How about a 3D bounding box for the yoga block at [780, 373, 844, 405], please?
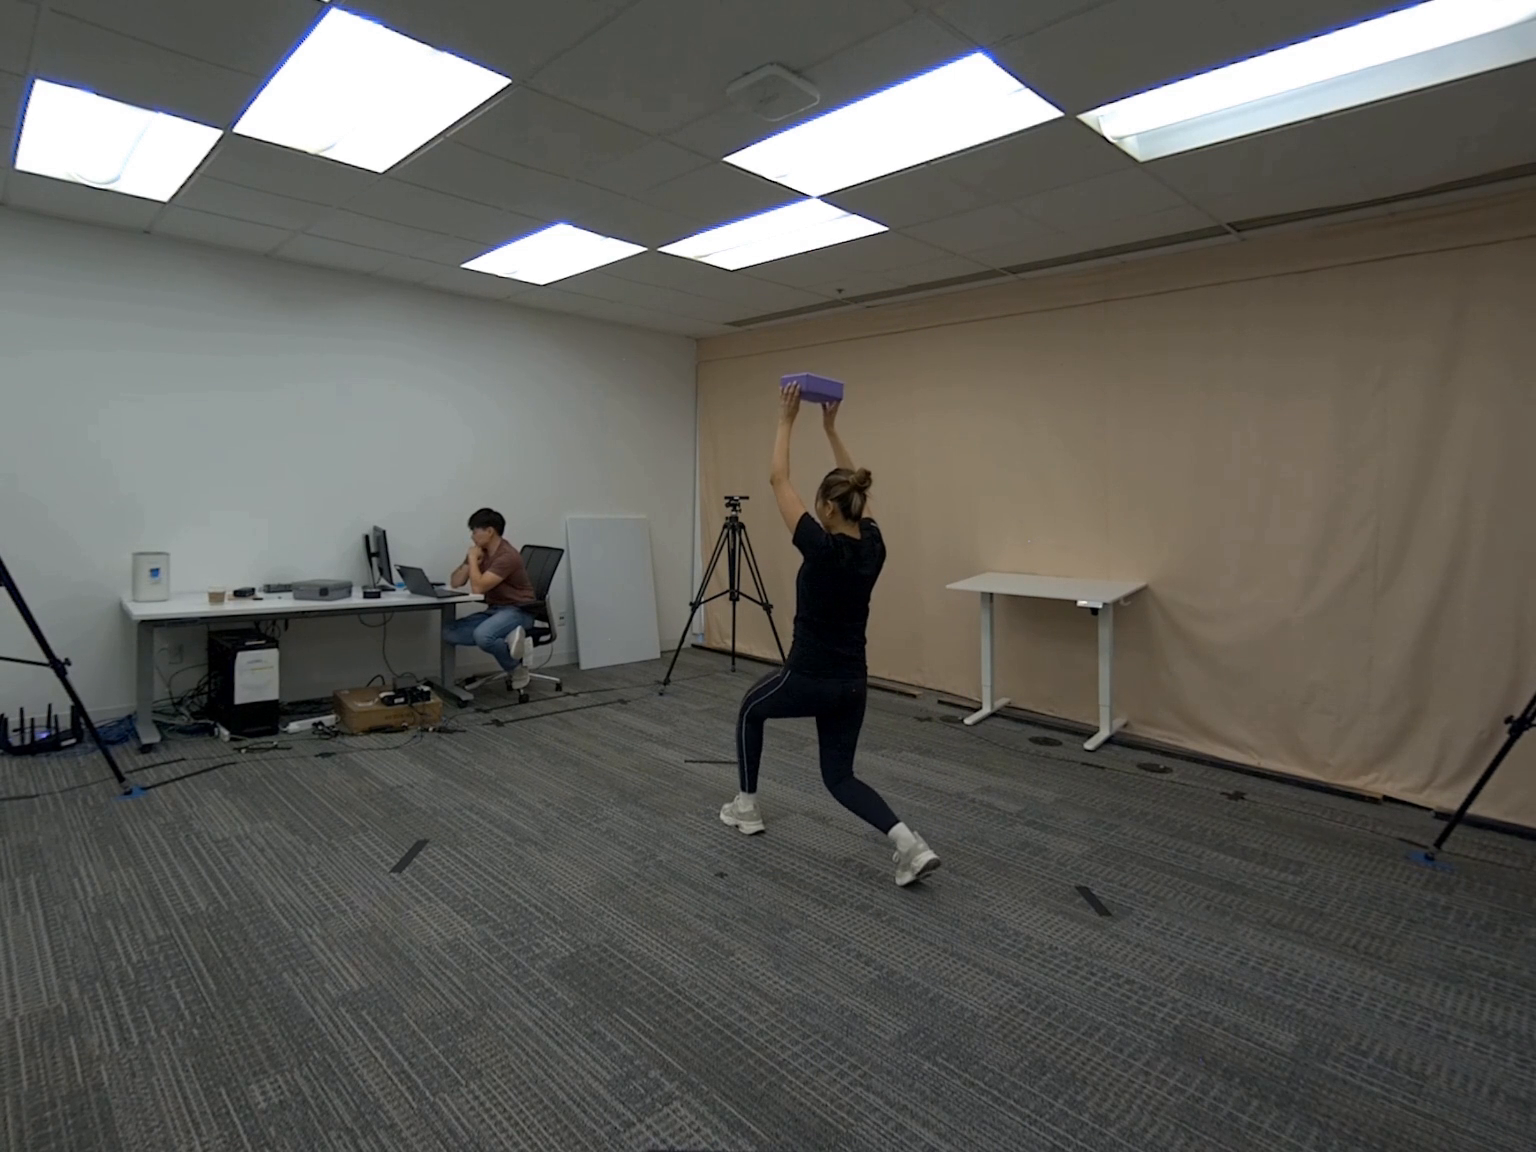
[{"bbox_3d":[0.177,-0.745,3.329,0.224,0.076,0.153,1,4,-45],"label":"yoga block"}]
